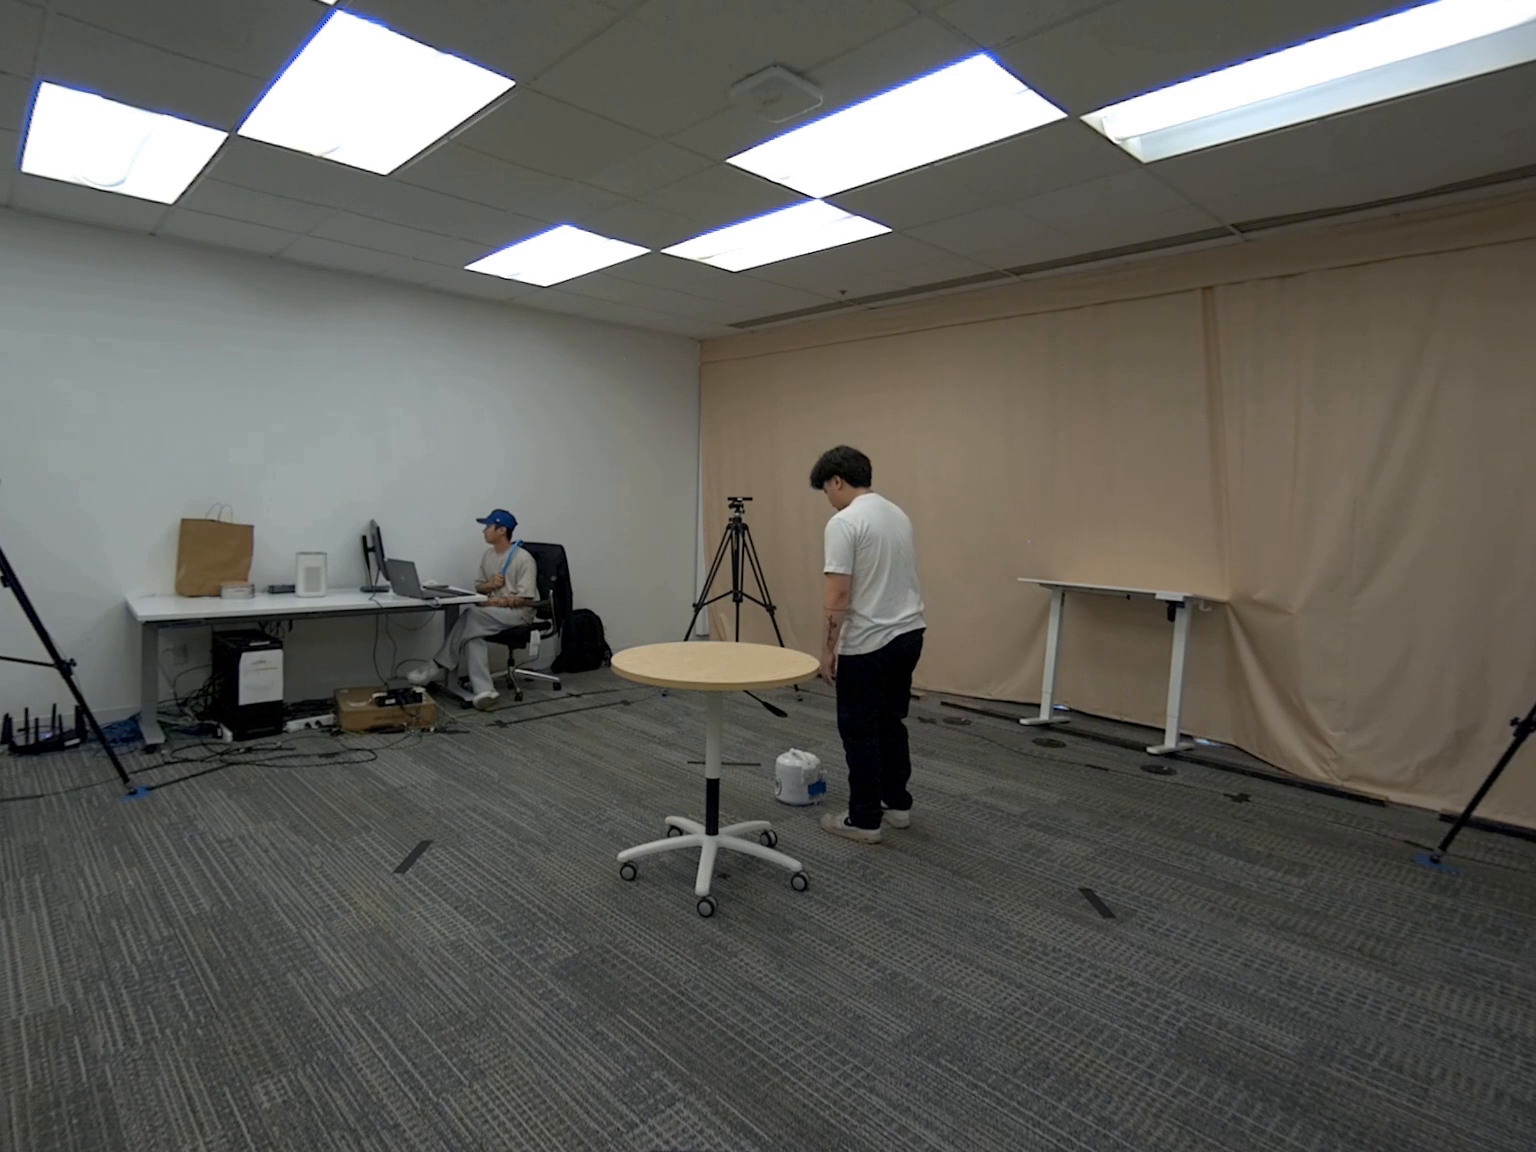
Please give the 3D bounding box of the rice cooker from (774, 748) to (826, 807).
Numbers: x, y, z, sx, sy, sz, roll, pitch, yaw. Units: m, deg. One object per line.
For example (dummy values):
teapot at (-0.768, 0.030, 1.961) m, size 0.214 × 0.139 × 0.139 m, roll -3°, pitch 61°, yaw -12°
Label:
rice cooker at (0.127, 0.928, 3.930) m, size 0.213 × 0.232 × 0.225 m, roll 0°, pitch 4°, yaw -25°
